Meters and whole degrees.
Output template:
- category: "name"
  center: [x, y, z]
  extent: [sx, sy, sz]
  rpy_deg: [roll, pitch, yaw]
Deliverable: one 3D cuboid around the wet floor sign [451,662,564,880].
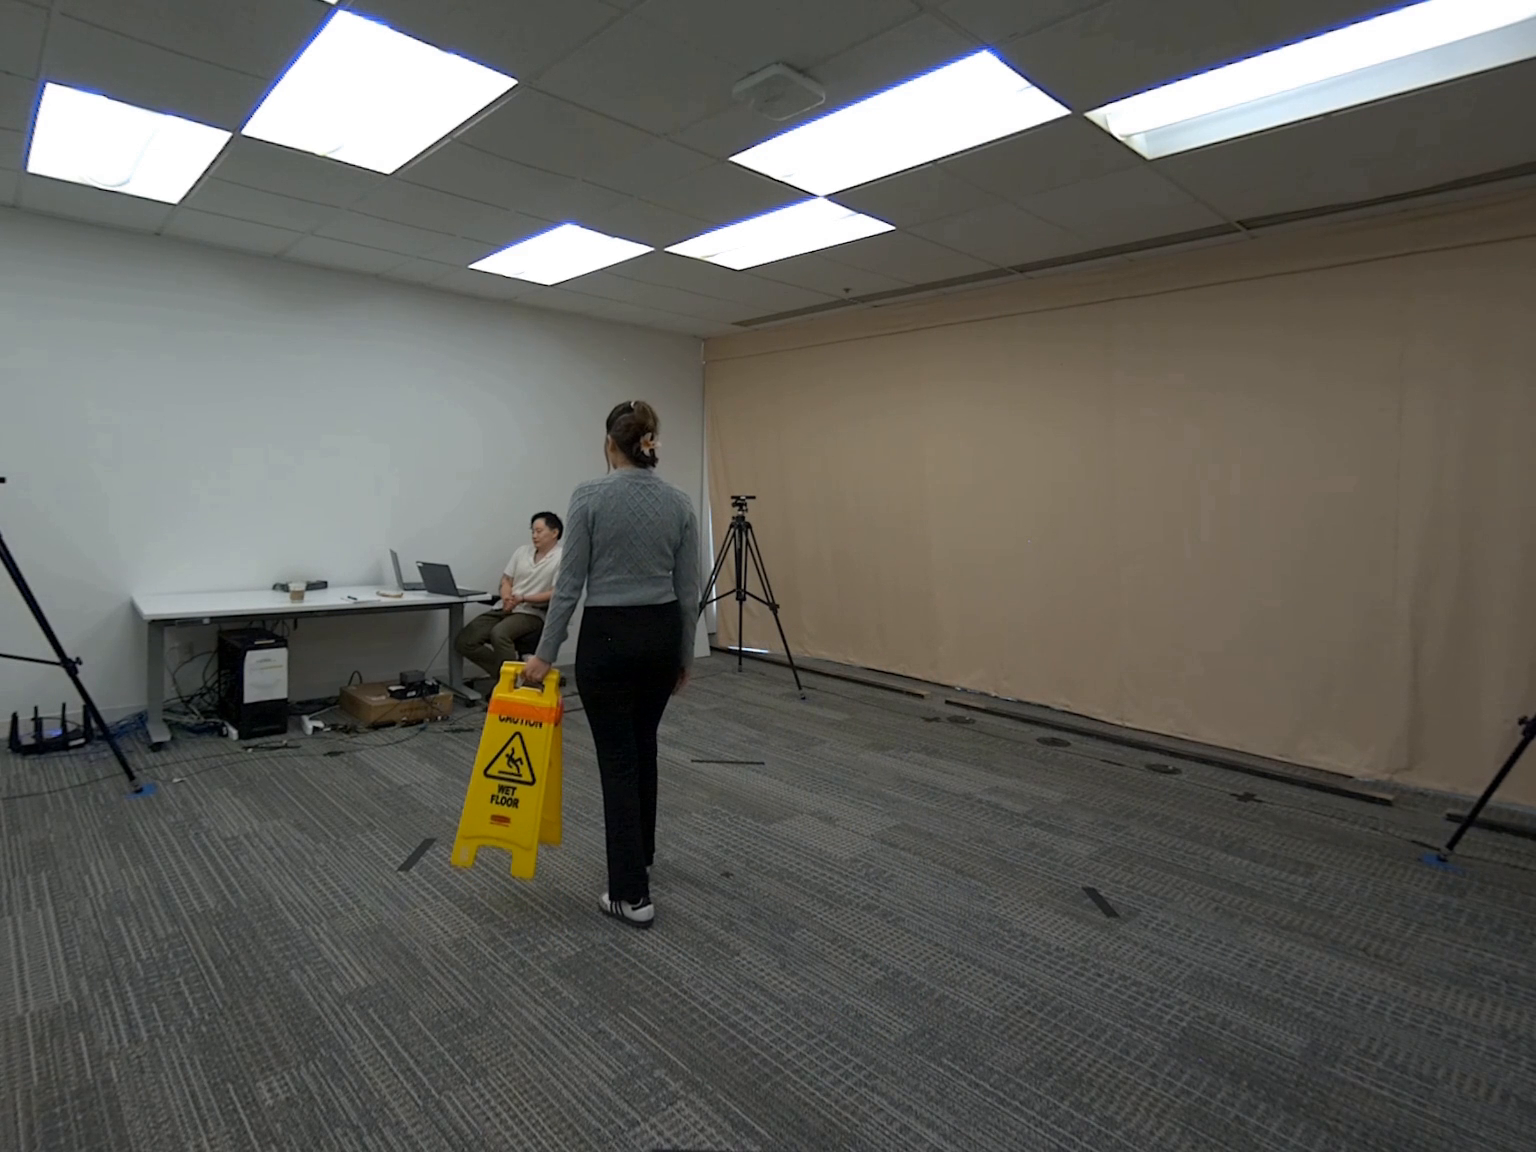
- category: "wet floor sign"
  center: [-0.835, 0.620, 2.816]
  extent: [0.283, 0.645, 0.288]
  rpy_deg: [7, 1, 5]
